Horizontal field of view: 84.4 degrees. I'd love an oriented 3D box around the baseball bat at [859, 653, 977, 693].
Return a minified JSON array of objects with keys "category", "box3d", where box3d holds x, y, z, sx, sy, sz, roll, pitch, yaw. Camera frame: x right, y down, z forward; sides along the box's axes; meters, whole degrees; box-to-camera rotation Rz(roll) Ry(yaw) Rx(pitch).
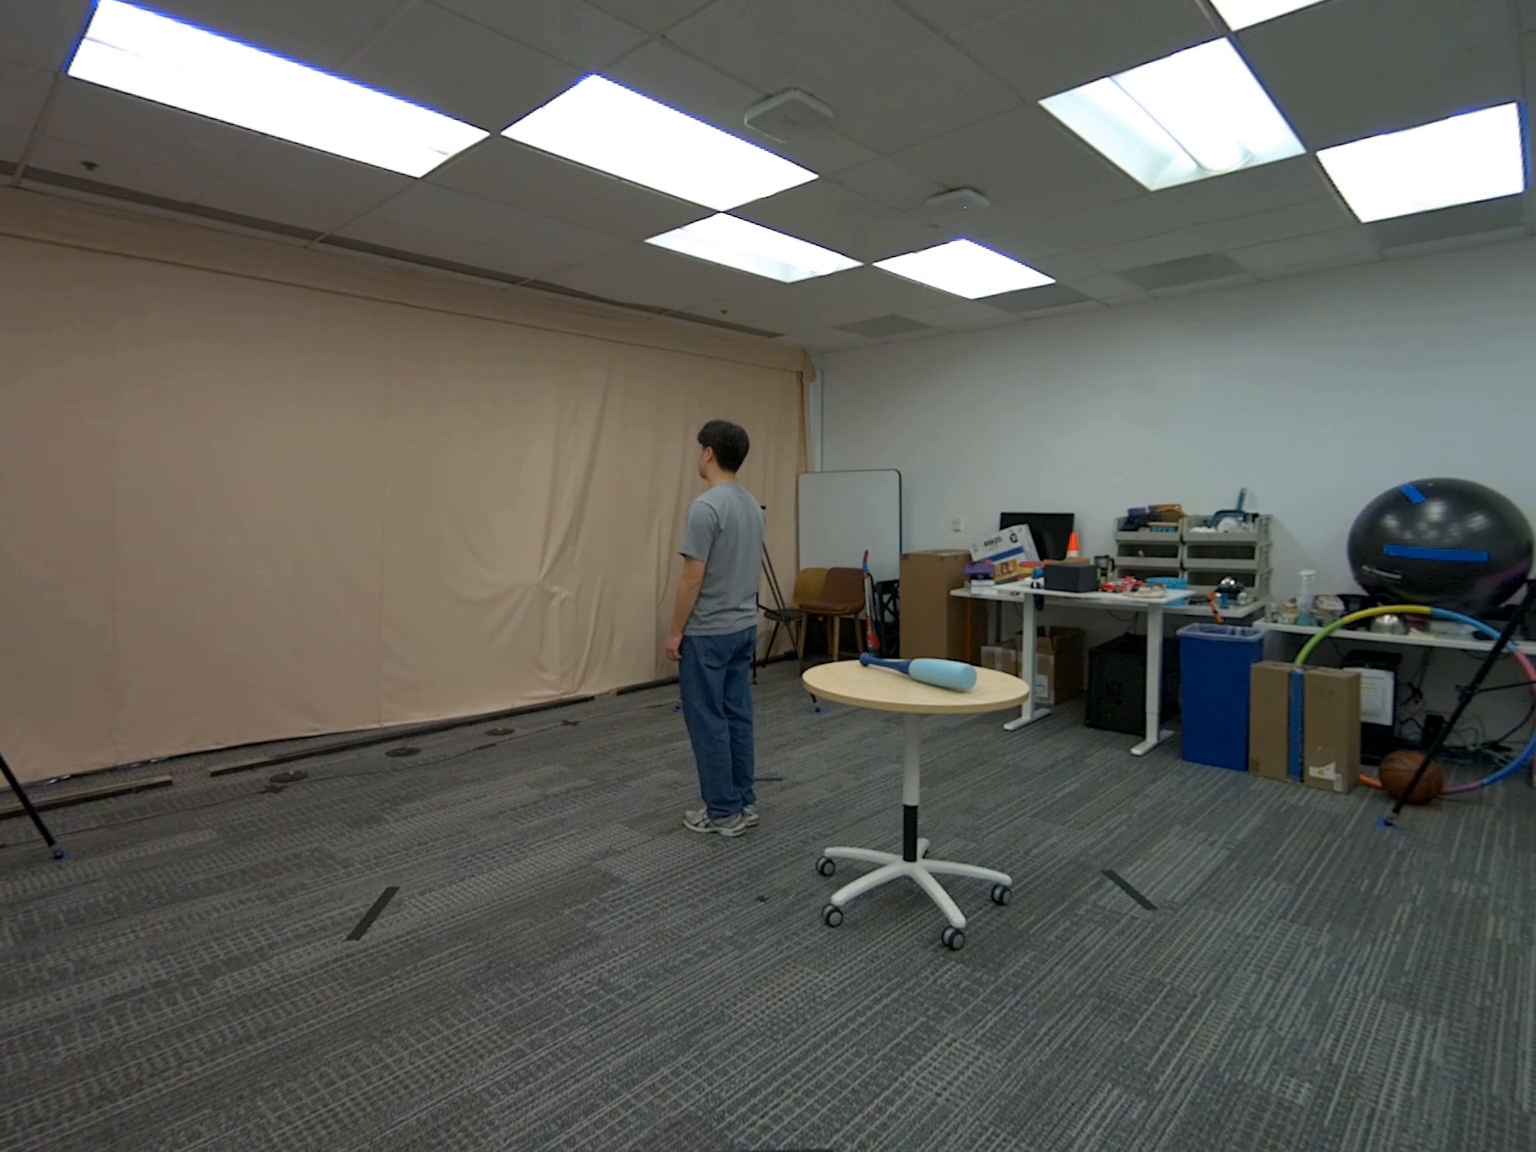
[{"category":"baseball bat","box3d":[0.512,0.325,2.952,0.086,0.089,0.558,-2,2,-32]}]
